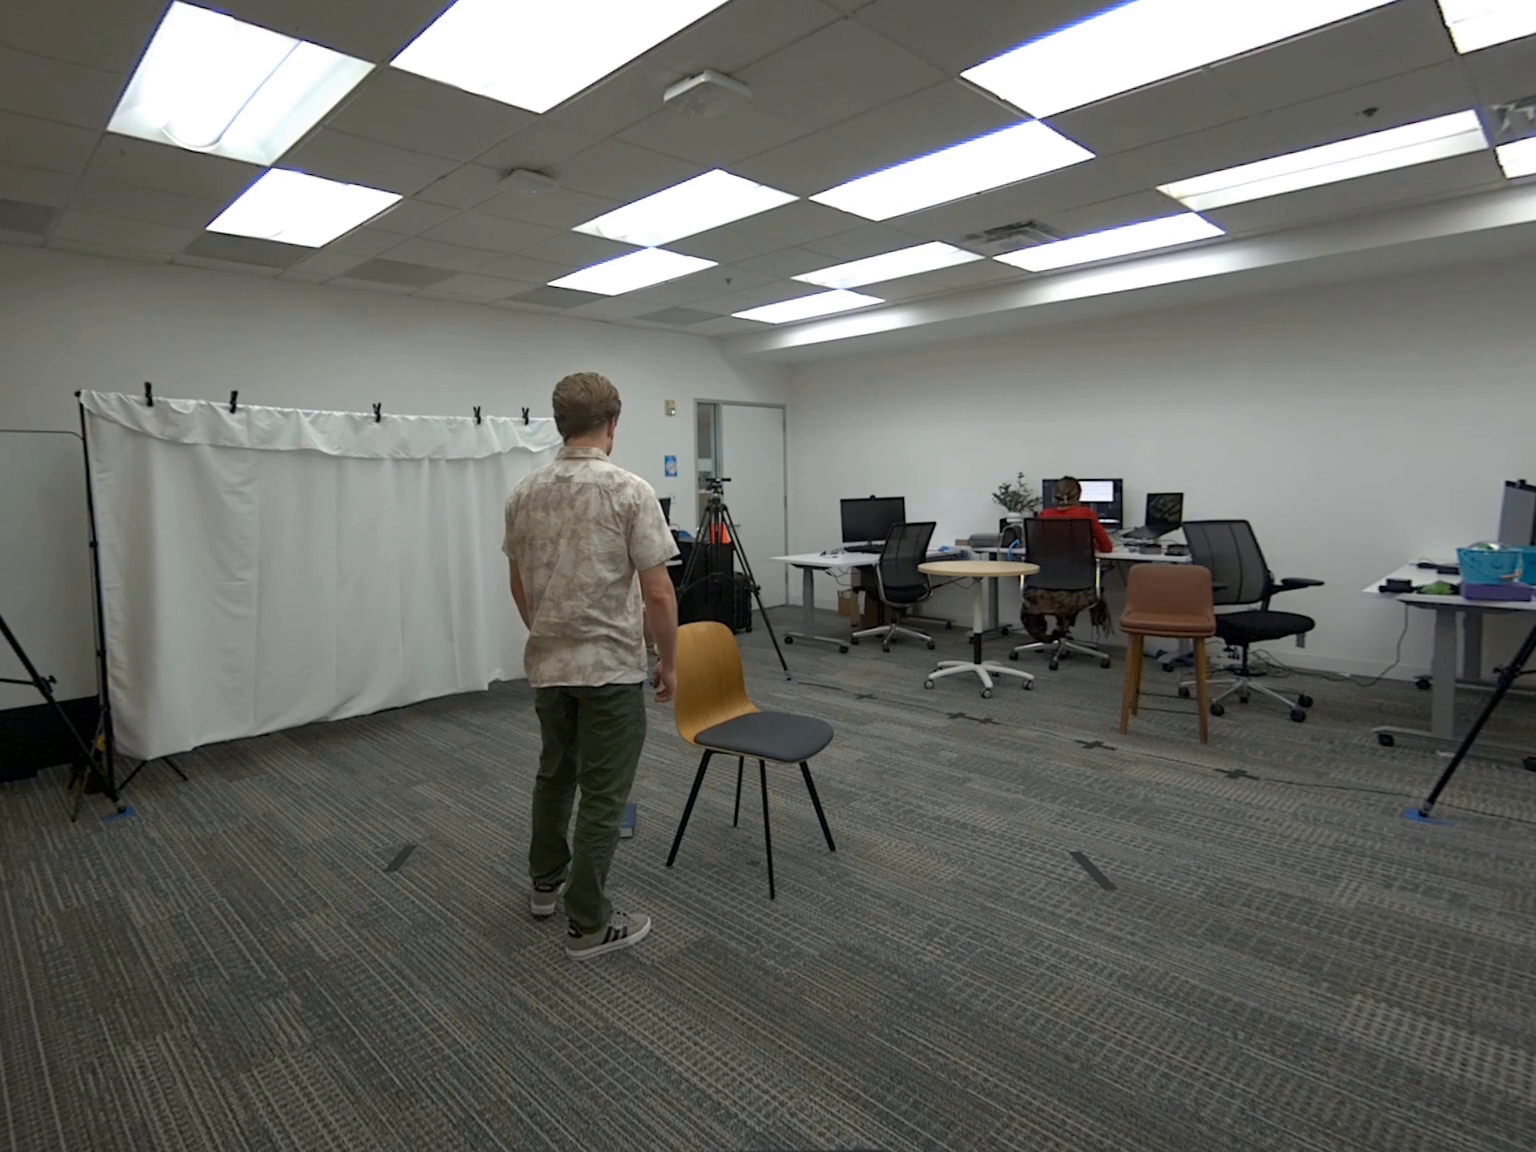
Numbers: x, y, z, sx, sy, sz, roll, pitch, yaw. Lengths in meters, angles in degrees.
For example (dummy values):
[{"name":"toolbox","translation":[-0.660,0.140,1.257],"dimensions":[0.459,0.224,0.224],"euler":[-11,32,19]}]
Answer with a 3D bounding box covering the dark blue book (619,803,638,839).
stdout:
[{"name":"dark blue book","translation":[-0.618,0.990,3.463],"dimensions":[0.163,0.045,0.247],"euler":[-2,7,-5]}]
